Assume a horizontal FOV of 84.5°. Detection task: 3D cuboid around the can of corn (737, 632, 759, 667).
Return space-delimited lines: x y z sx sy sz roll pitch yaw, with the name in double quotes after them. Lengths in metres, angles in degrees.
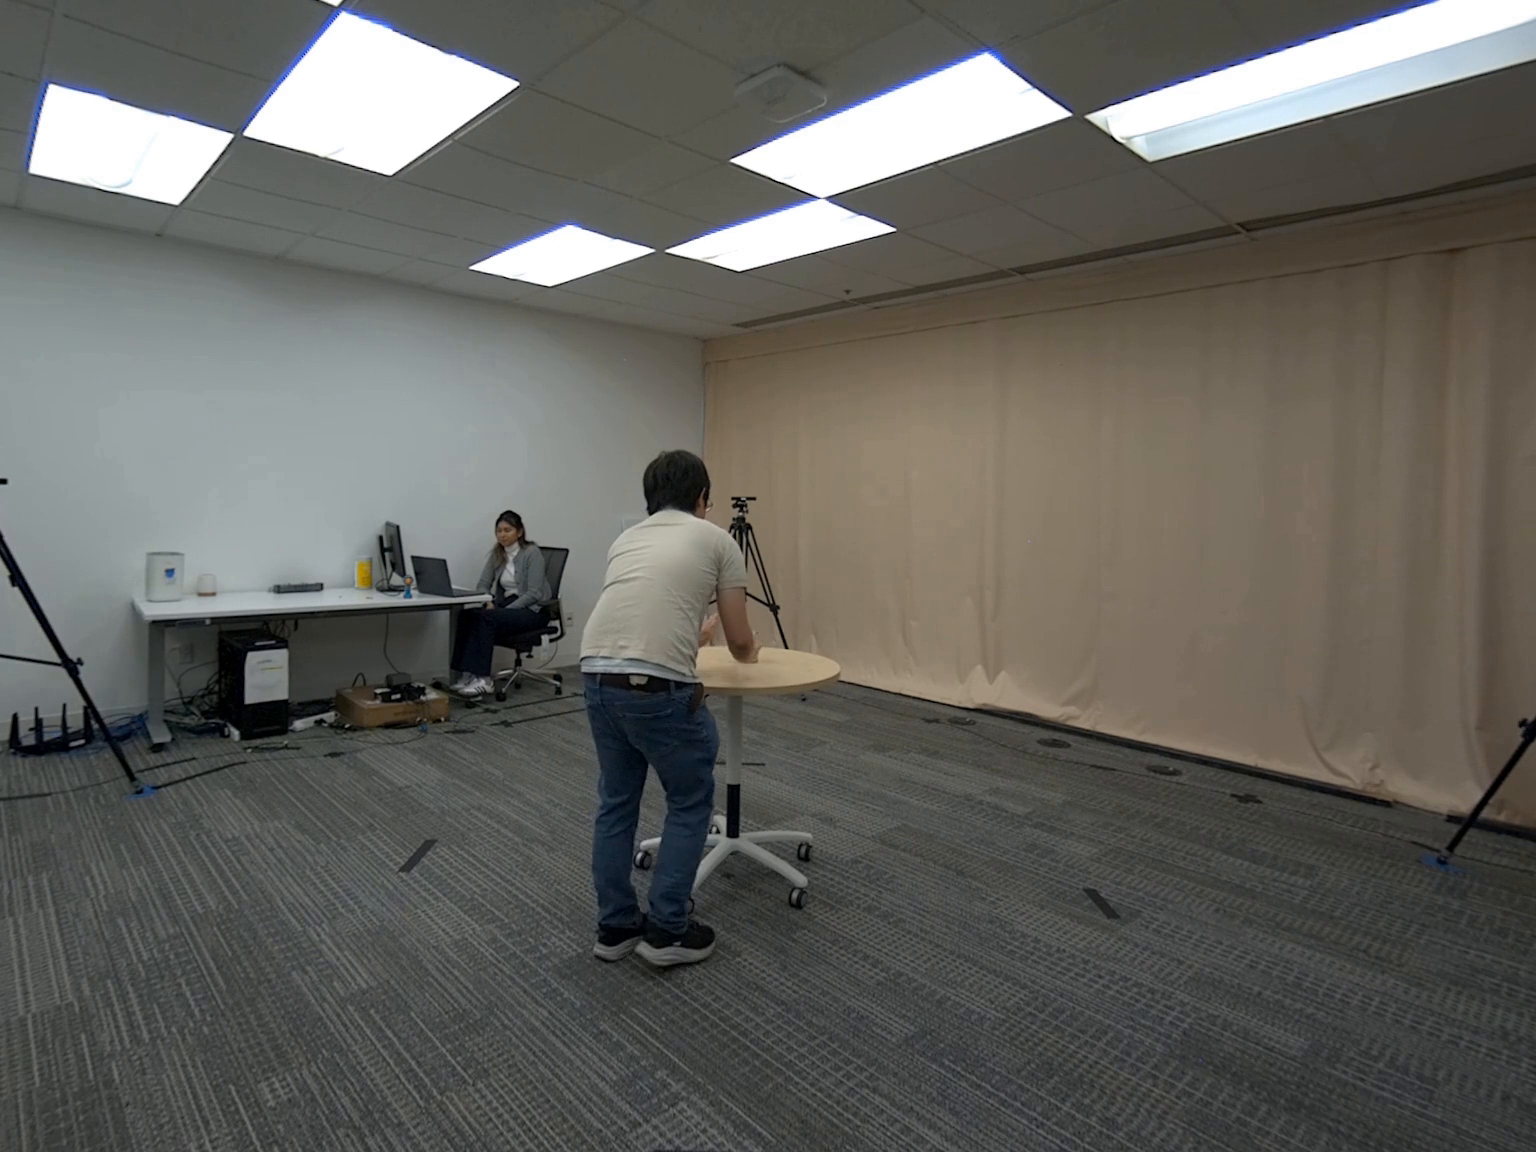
-0.076 0.270 3.140 0.074 0.111 0.074 0 4 -1 "can of corn"
